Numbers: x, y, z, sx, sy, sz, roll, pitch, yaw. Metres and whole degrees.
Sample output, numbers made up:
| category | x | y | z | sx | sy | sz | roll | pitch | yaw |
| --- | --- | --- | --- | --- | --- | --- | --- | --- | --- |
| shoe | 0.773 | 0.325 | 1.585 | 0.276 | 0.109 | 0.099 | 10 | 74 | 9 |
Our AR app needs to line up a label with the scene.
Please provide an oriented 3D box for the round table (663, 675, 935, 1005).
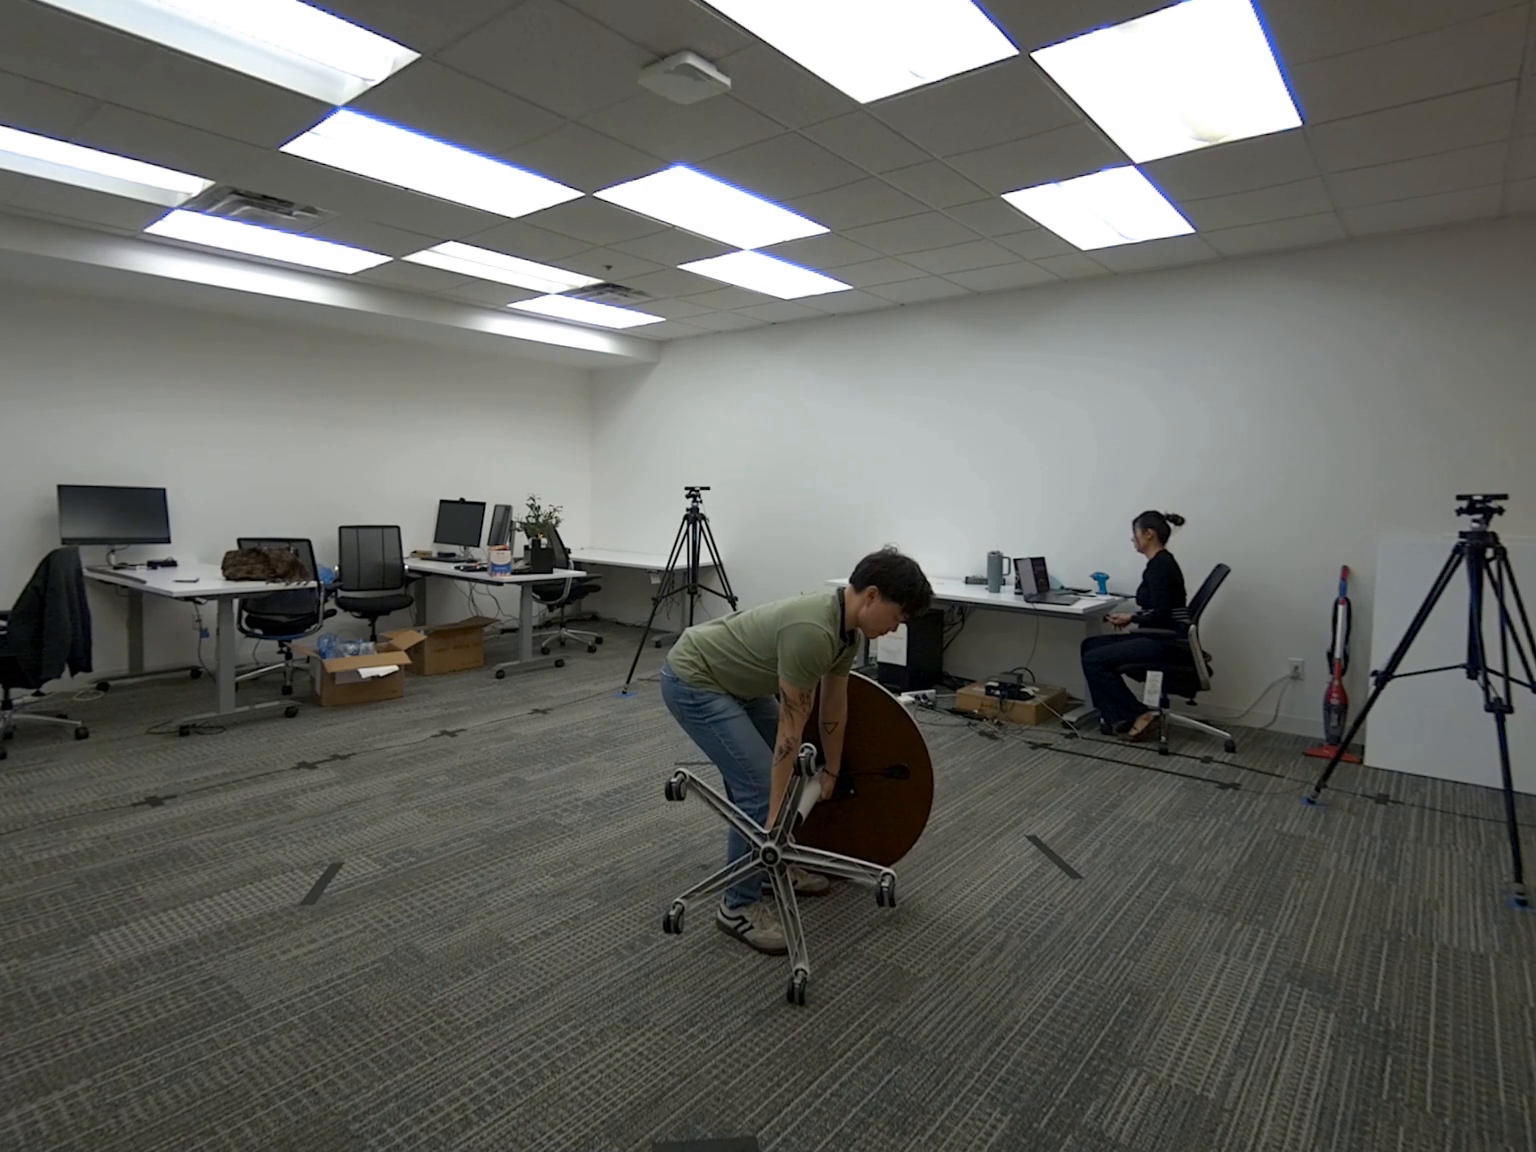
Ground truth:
| category | x | y | z | sx | sy | sz | roll | pitch | yaw |
| --- | --- | --- | --- | --- | --- | --- | --- | --- | --- |
| round table | 0.087 | 0.747 | 2.659 | 0.779 | 0.760 | 0.783 | 2 | 7 | 18 |
